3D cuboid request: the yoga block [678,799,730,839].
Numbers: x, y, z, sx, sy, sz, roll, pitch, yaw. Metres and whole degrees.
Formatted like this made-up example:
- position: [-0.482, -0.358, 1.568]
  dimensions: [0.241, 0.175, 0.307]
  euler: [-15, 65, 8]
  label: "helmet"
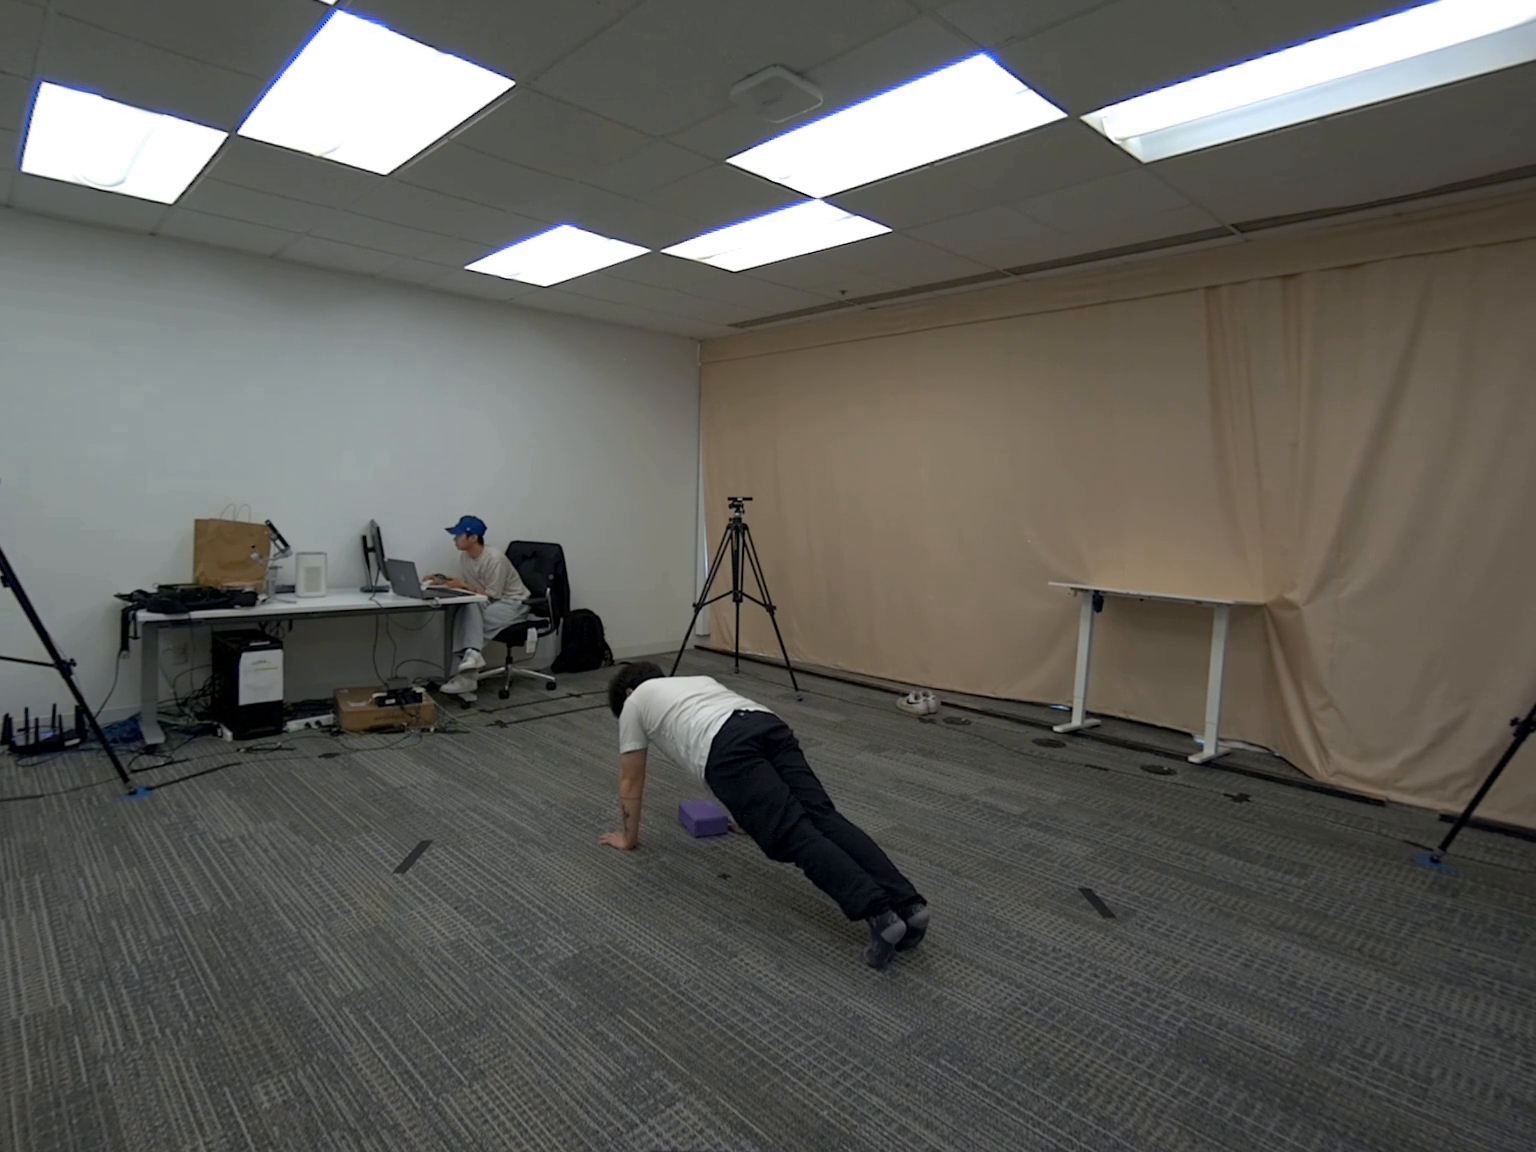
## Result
- position: [-0.286, 1.022, 3.569]
  dimensions: [0.146, 0.076, 0.234]
  euler: [0, 4, -23]
  label: "yoga block"
